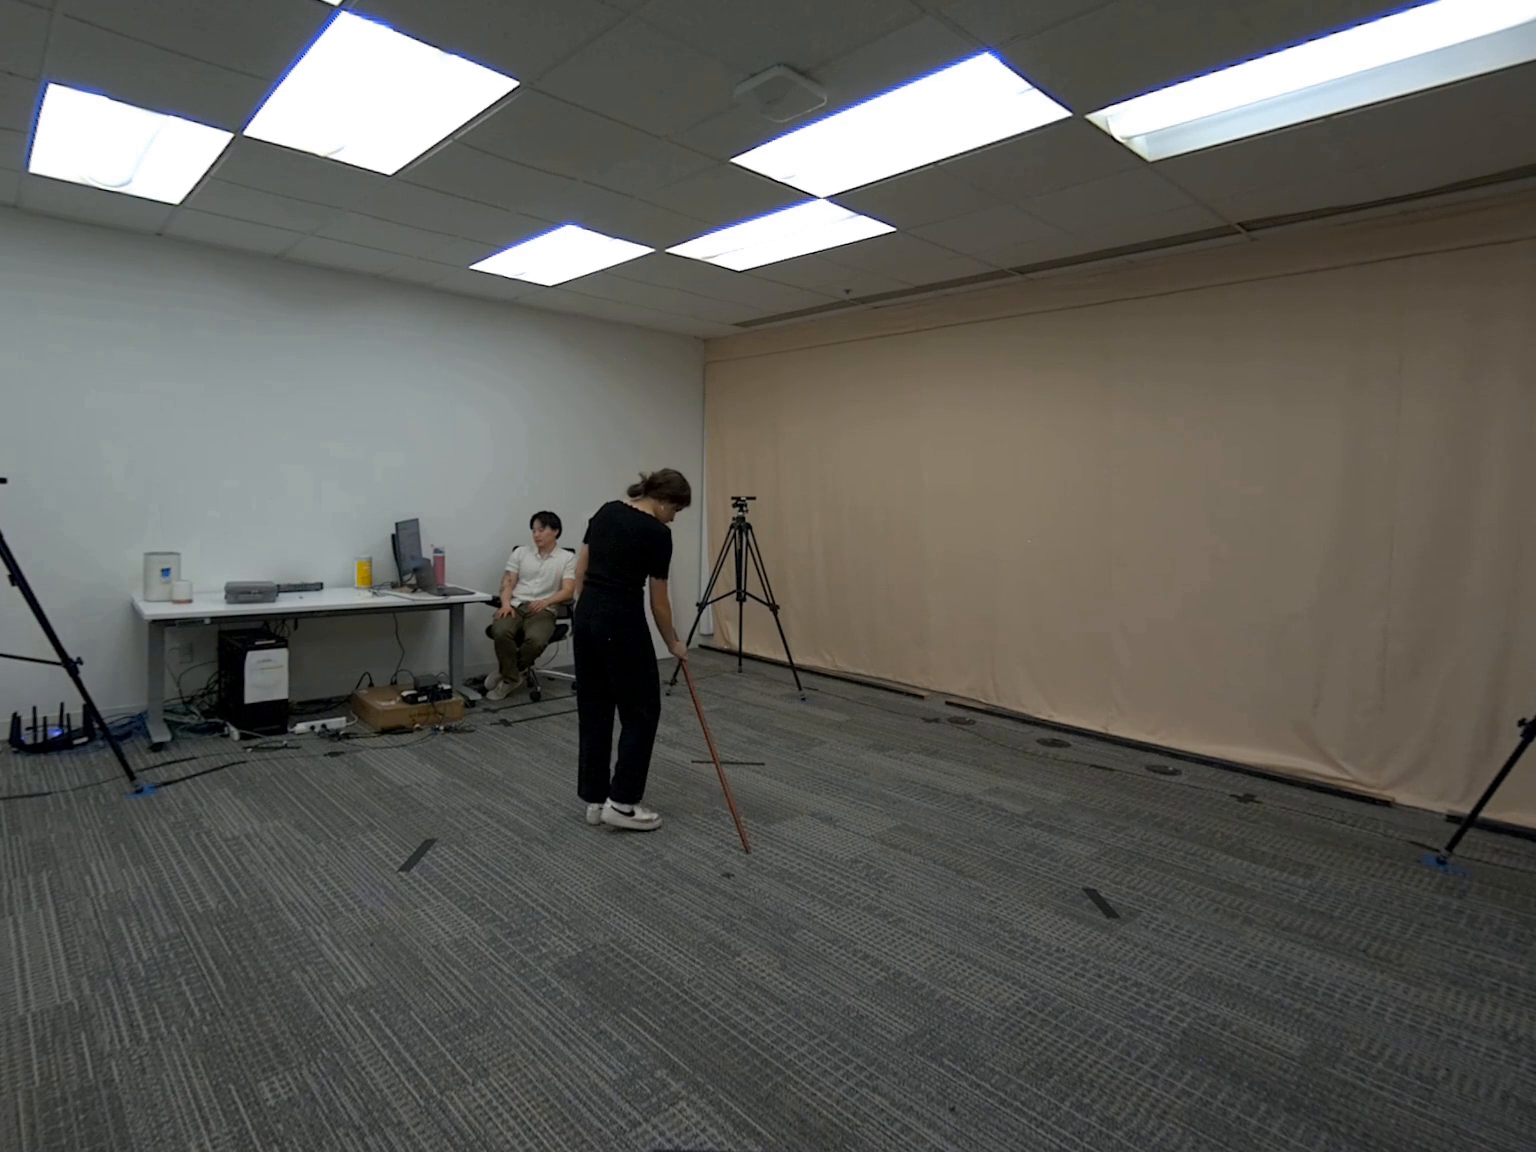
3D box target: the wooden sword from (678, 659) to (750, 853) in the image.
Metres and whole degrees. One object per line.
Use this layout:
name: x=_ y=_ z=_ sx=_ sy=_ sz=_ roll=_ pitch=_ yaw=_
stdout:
wooden sword: x=-0.273 y=0.694 z=3.576 sx=0.051 sy=1.053 sz=0.023 roll=-24 pitch=-33 yaw=-2
